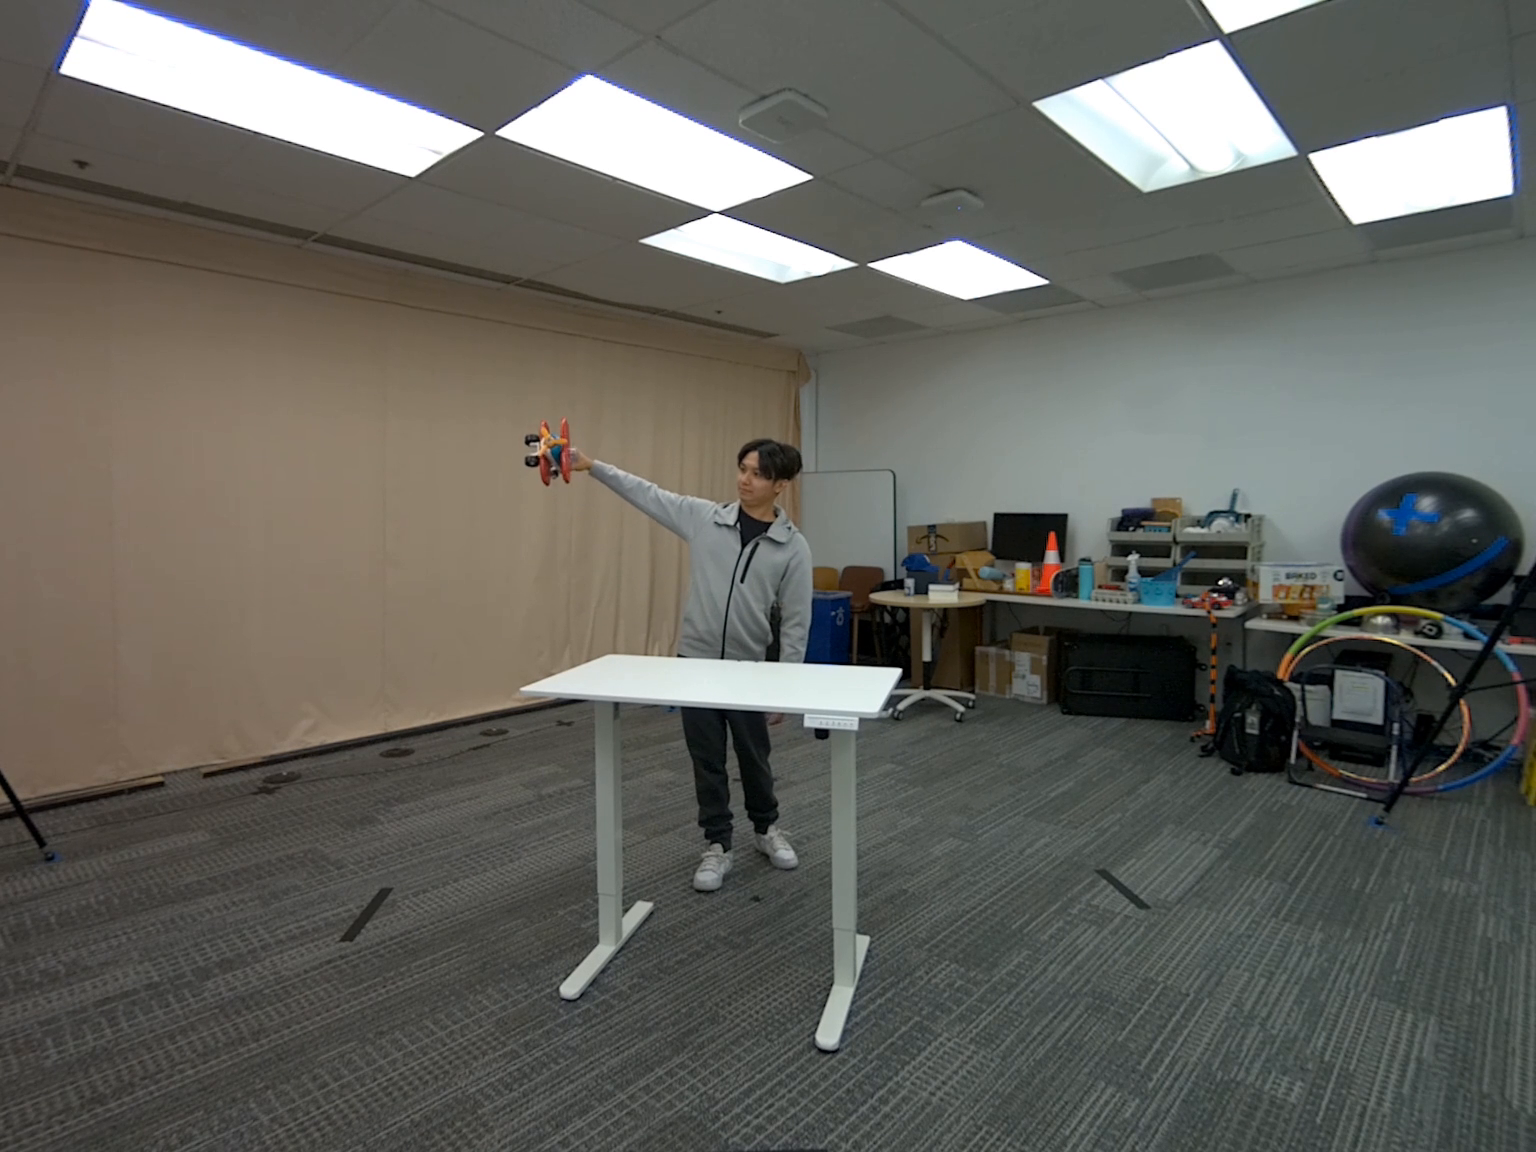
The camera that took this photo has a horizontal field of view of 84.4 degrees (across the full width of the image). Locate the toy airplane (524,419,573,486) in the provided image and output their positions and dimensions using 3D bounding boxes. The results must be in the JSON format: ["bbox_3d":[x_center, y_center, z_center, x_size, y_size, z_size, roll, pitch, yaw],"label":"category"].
[{"bbox_3d":[-0.803,-0.454,3.165,0.158,0.250,0.257,-11,7,13],"label":"toy airplane"}]
